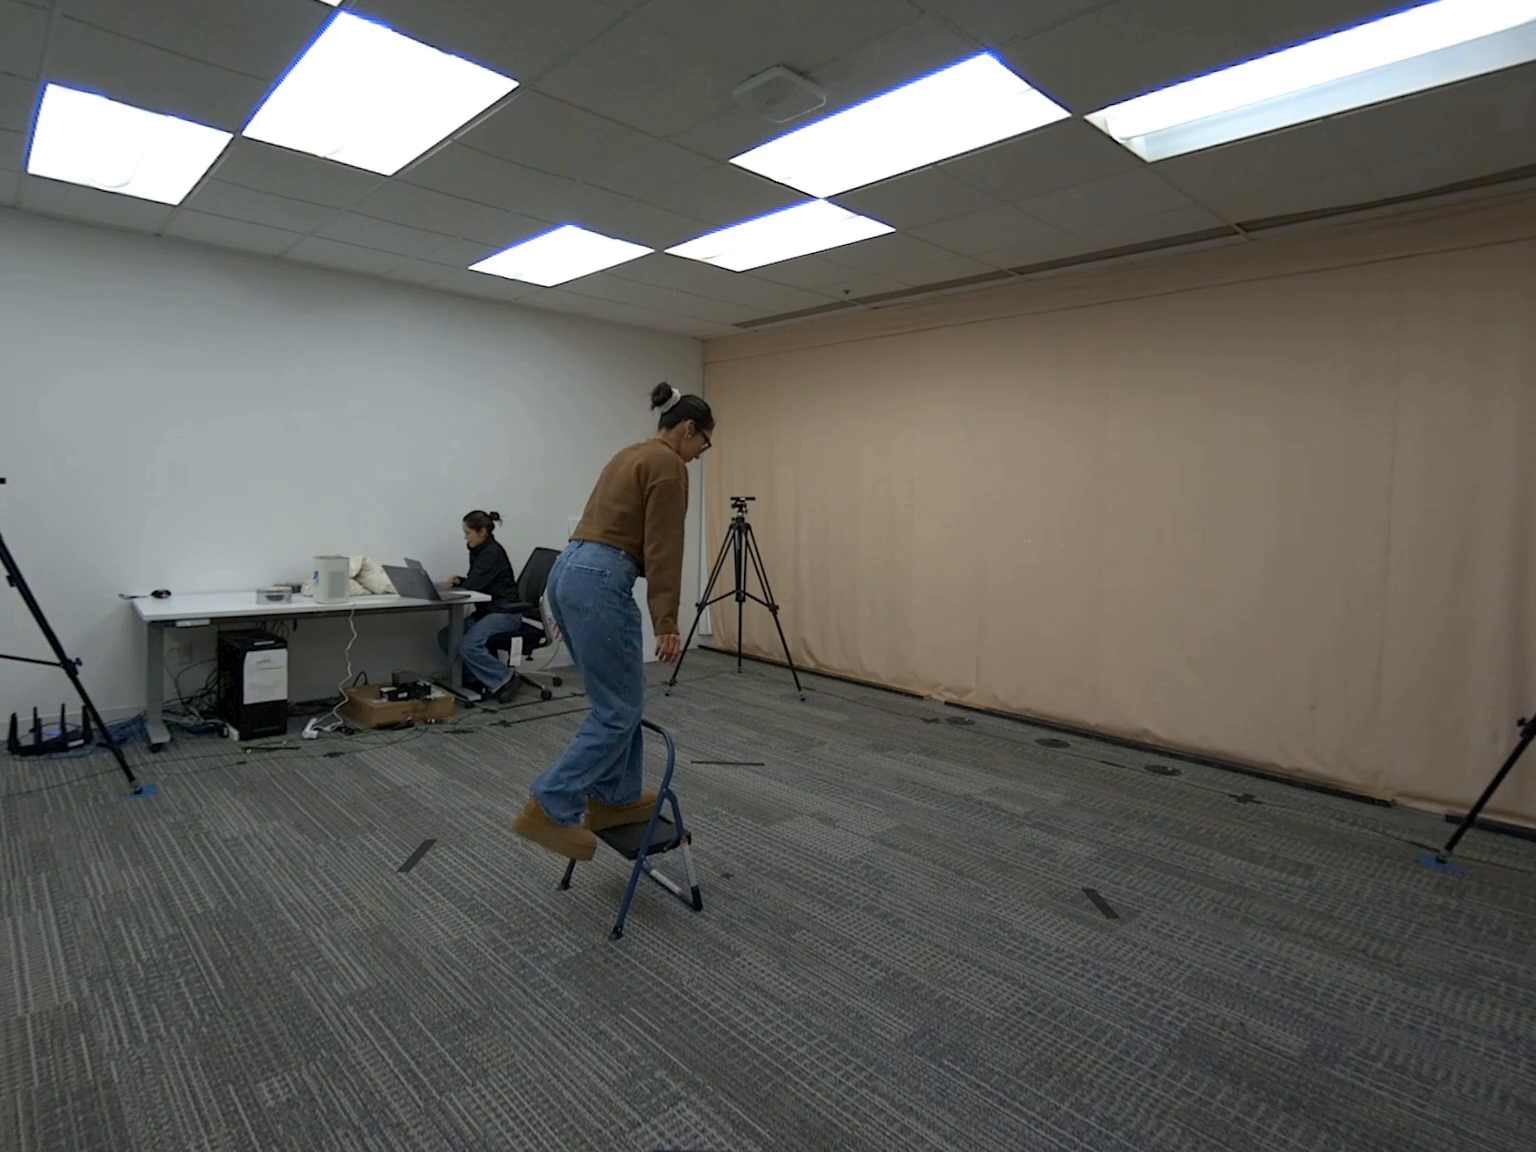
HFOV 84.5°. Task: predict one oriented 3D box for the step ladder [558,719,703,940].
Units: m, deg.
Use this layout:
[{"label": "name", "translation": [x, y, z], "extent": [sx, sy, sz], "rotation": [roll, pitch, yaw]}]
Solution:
[{"label": "step ladder", "translation": [-0.474, 0.818, 2.890], "extent": [0.341, 0.605, 0.441], "rotation": [0, 4, -37]}]
